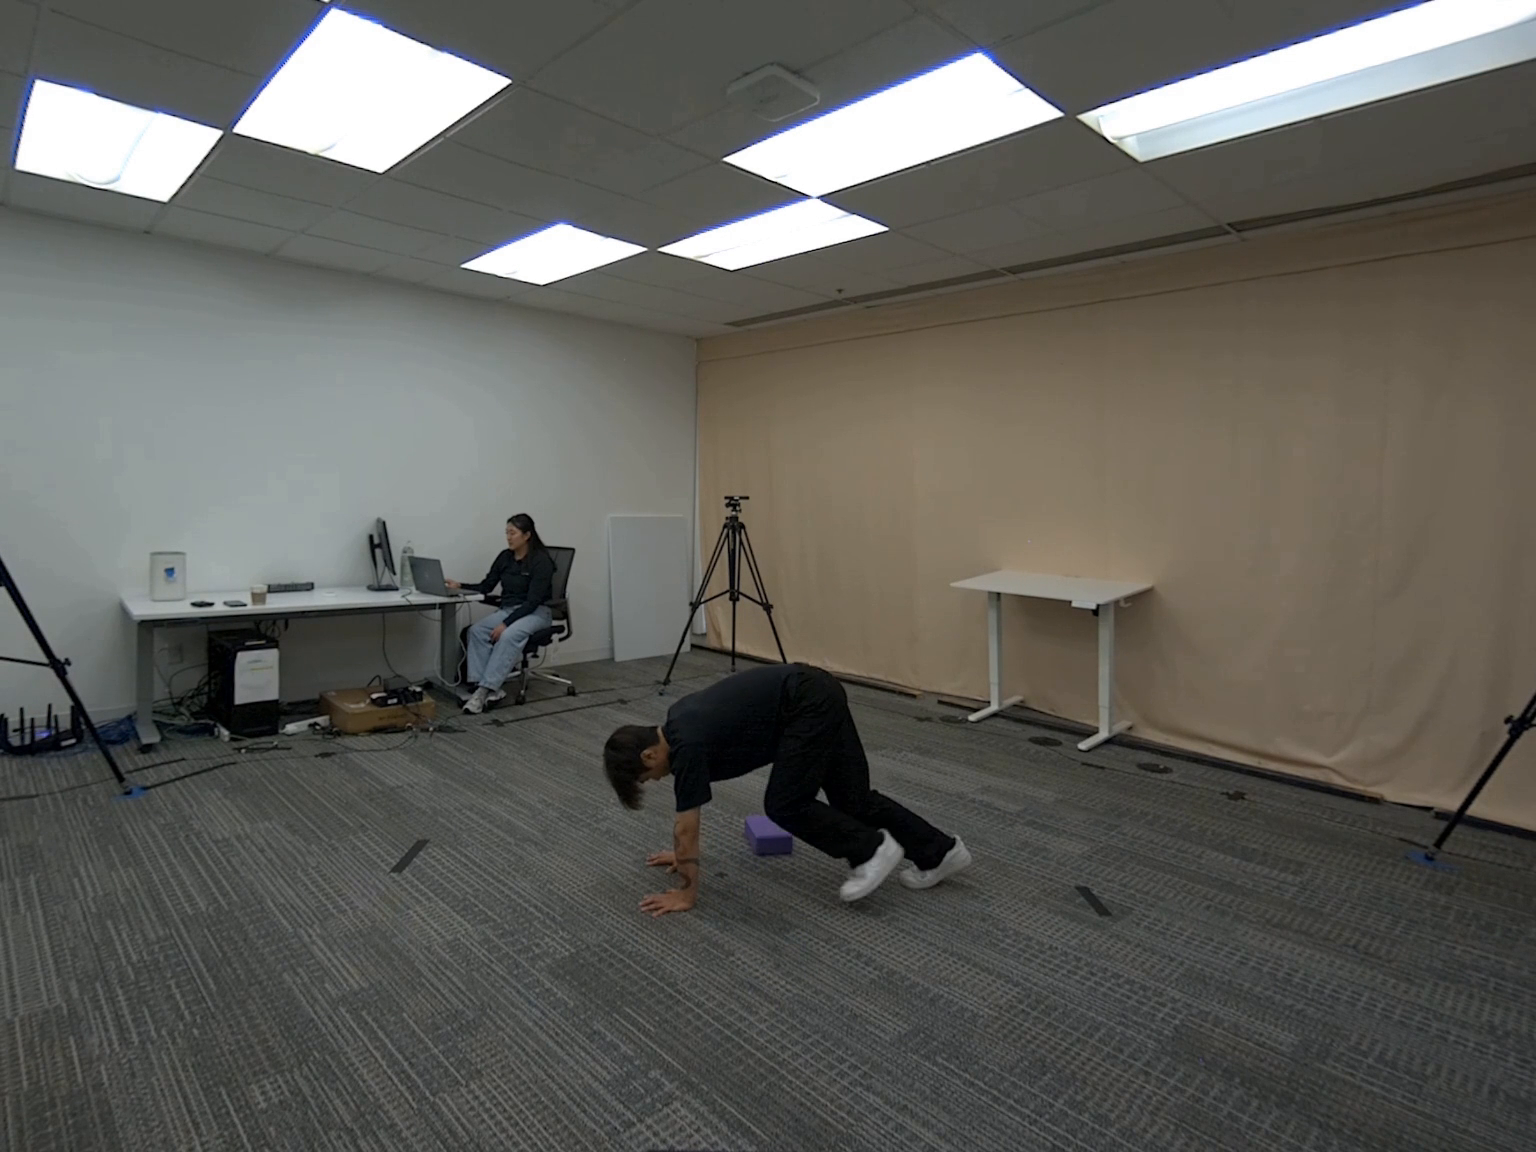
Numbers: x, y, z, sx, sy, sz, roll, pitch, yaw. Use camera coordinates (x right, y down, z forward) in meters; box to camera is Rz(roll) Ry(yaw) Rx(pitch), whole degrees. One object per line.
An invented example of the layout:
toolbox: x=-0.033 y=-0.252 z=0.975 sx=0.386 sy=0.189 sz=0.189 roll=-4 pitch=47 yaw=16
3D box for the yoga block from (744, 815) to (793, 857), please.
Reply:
yoga block: x=-0.009 y=1.042 z=3.397 sx=0.147 sy=0.076 sz=0.232 roll=0 pitch=5 yaw=-13
